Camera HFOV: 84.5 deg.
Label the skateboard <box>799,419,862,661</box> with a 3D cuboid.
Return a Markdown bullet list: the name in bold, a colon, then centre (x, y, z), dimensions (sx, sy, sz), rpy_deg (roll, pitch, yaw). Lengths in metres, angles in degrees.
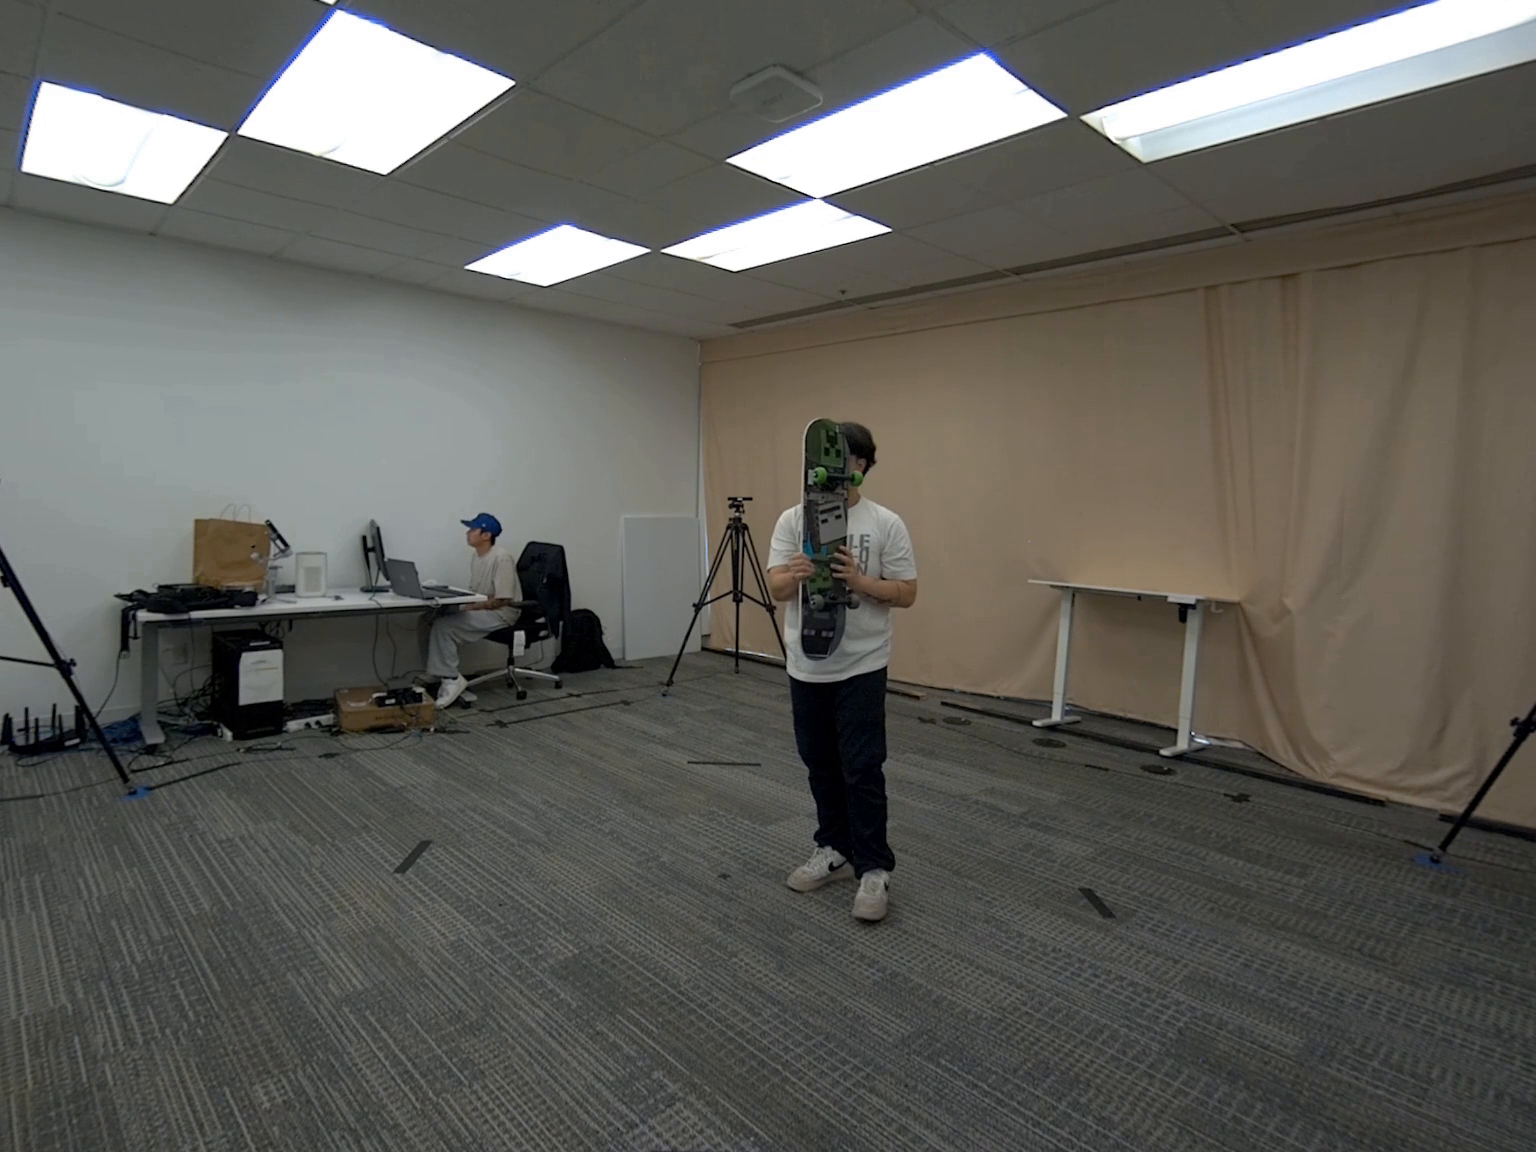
- **skateboard**: centre (0.192, -0.117, 2.697), dimensions (0.189, 0.785, 0.113), rpy_deg (-1, 1, -35)
